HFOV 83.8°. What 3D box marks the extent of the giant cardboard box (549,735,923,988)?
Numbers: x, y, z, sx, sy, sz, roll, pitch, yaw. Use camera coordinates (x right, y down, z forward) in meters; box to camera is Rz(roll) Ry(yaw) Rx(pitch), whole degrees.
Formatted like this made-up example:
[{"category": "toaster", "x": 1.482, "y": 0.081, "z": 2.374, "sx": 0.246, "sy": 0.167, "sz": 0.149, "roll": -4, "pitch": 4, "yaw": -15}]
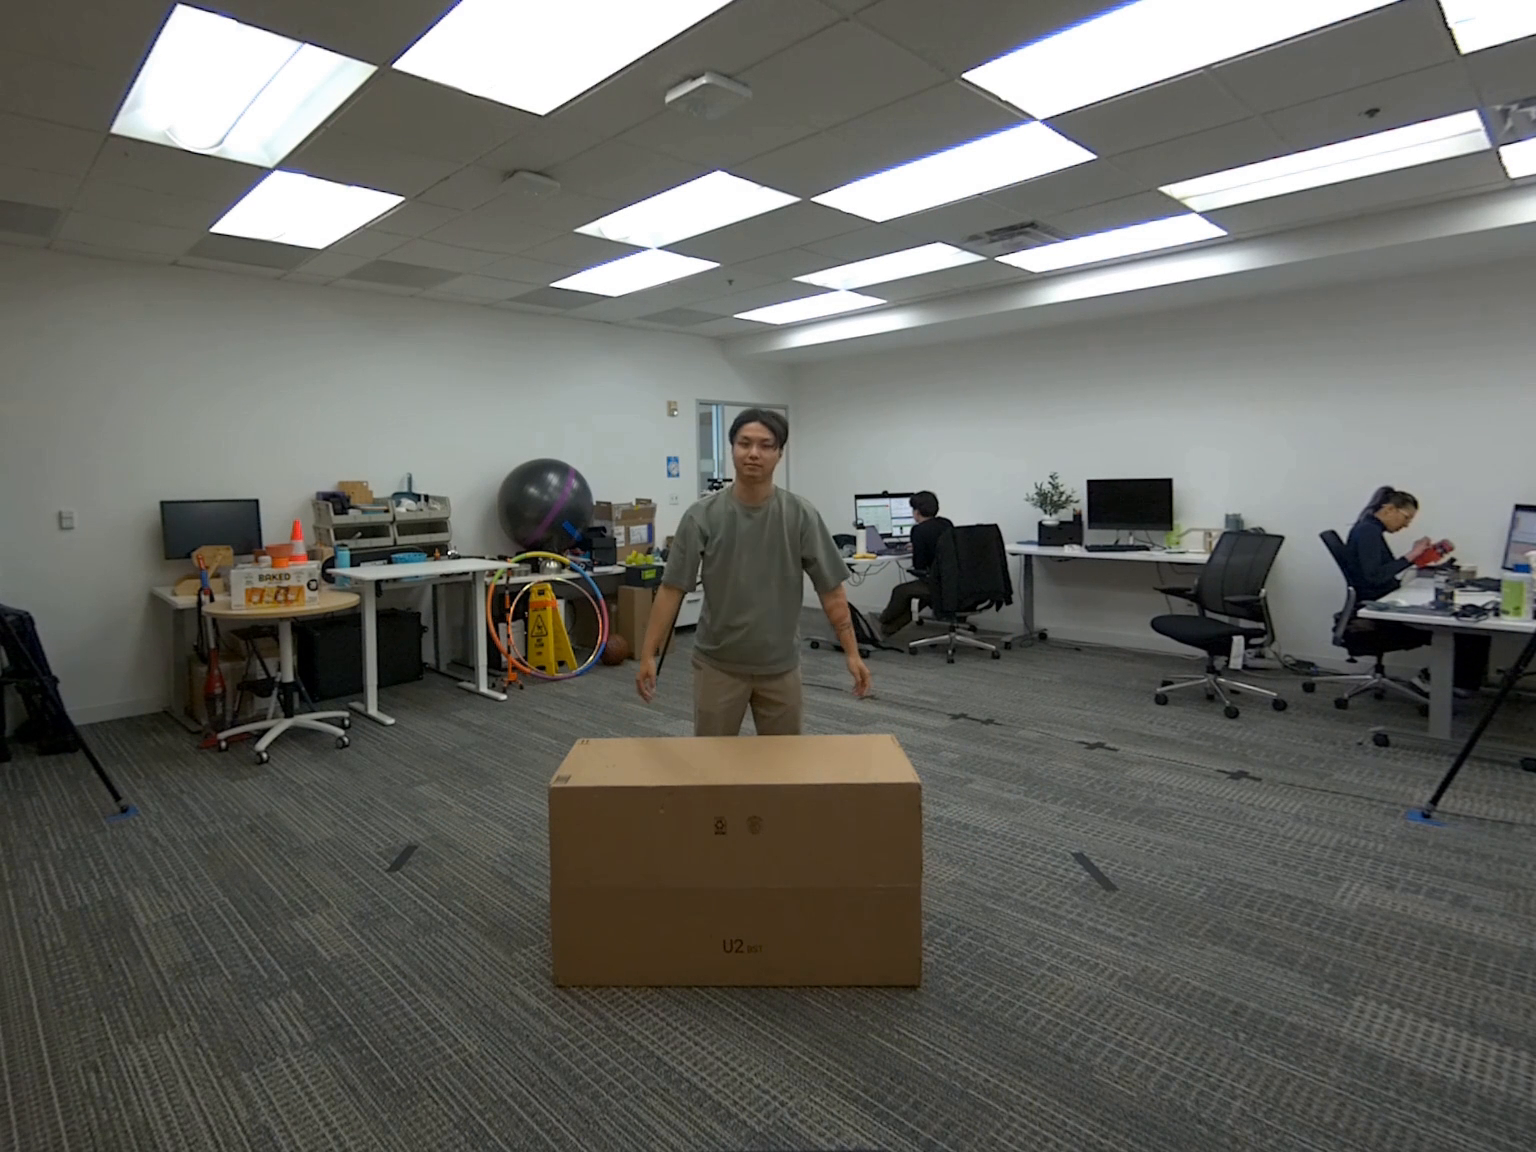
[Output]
[{"category": "giant cardboard box", "x": -0.095, "y": 0.818, "z": 2.541, "sx": 1.027, "sy": 0.576, "sz": 0.427, "roll": -1, "pitch": 4, "yaw": 1}]
